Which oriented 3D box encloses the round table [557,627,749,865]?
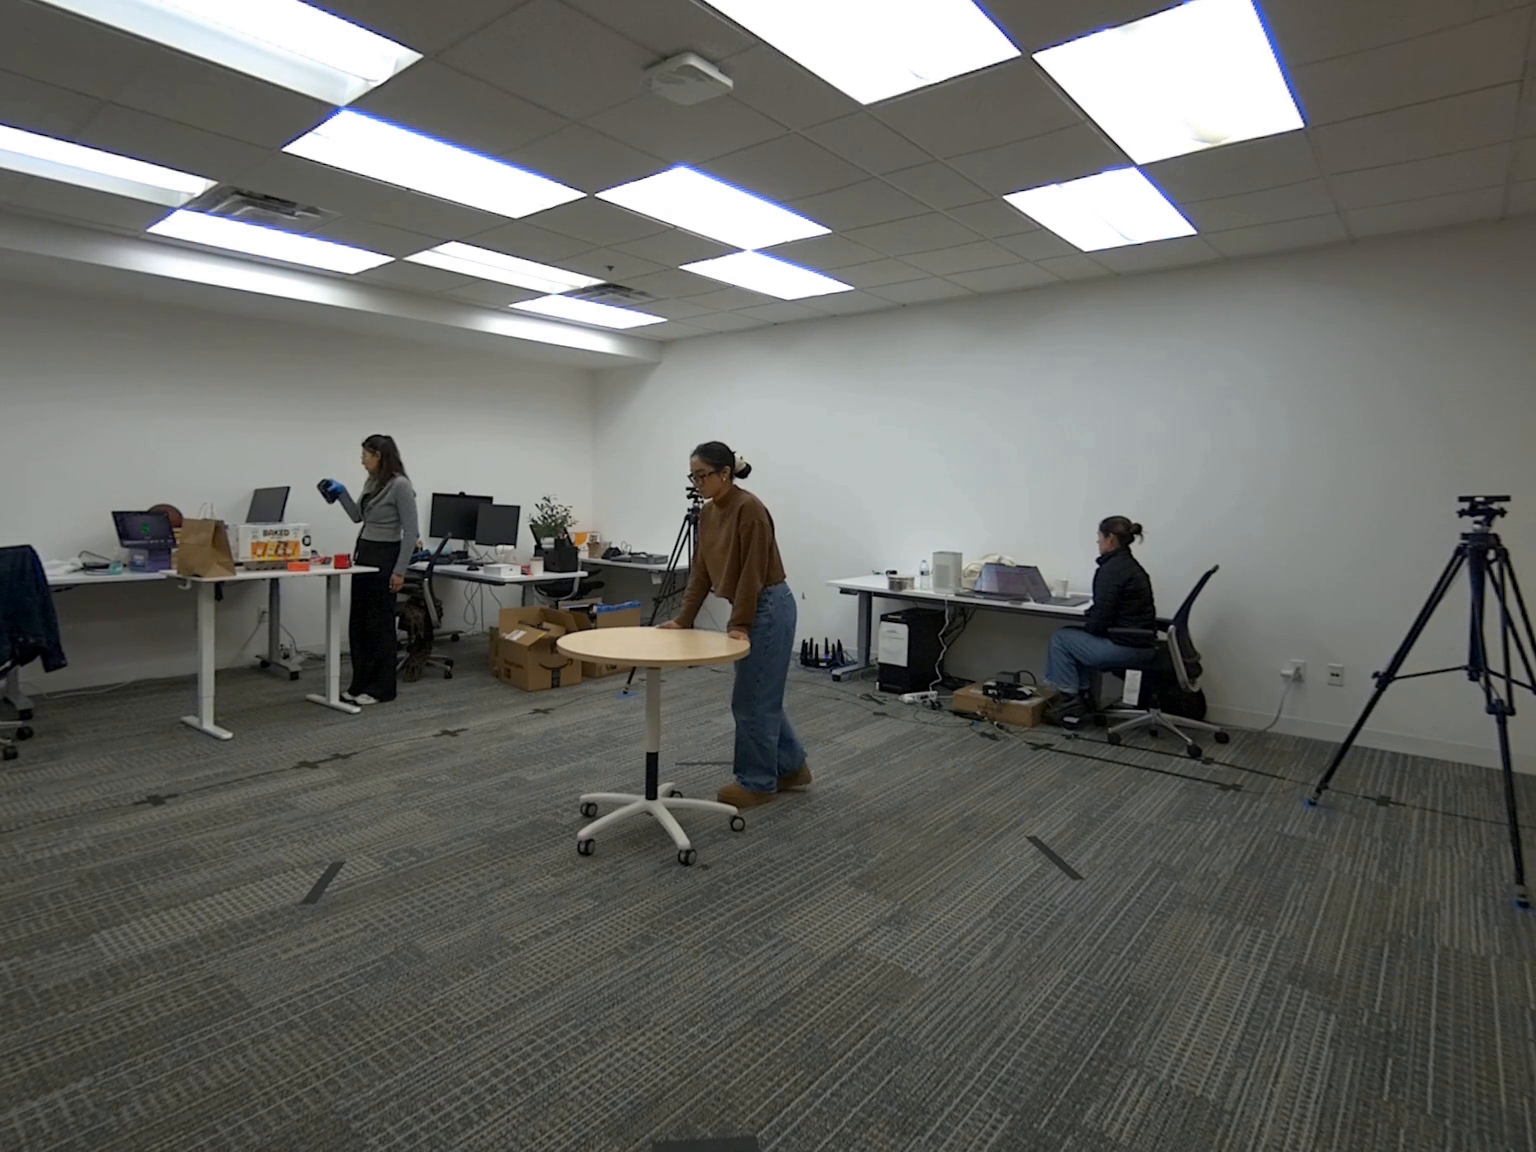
[{"bbox_3d":[-0.476,0.650,3.409,0.763,0.792,0.767,1,4,-2],"label":"round table"}]
